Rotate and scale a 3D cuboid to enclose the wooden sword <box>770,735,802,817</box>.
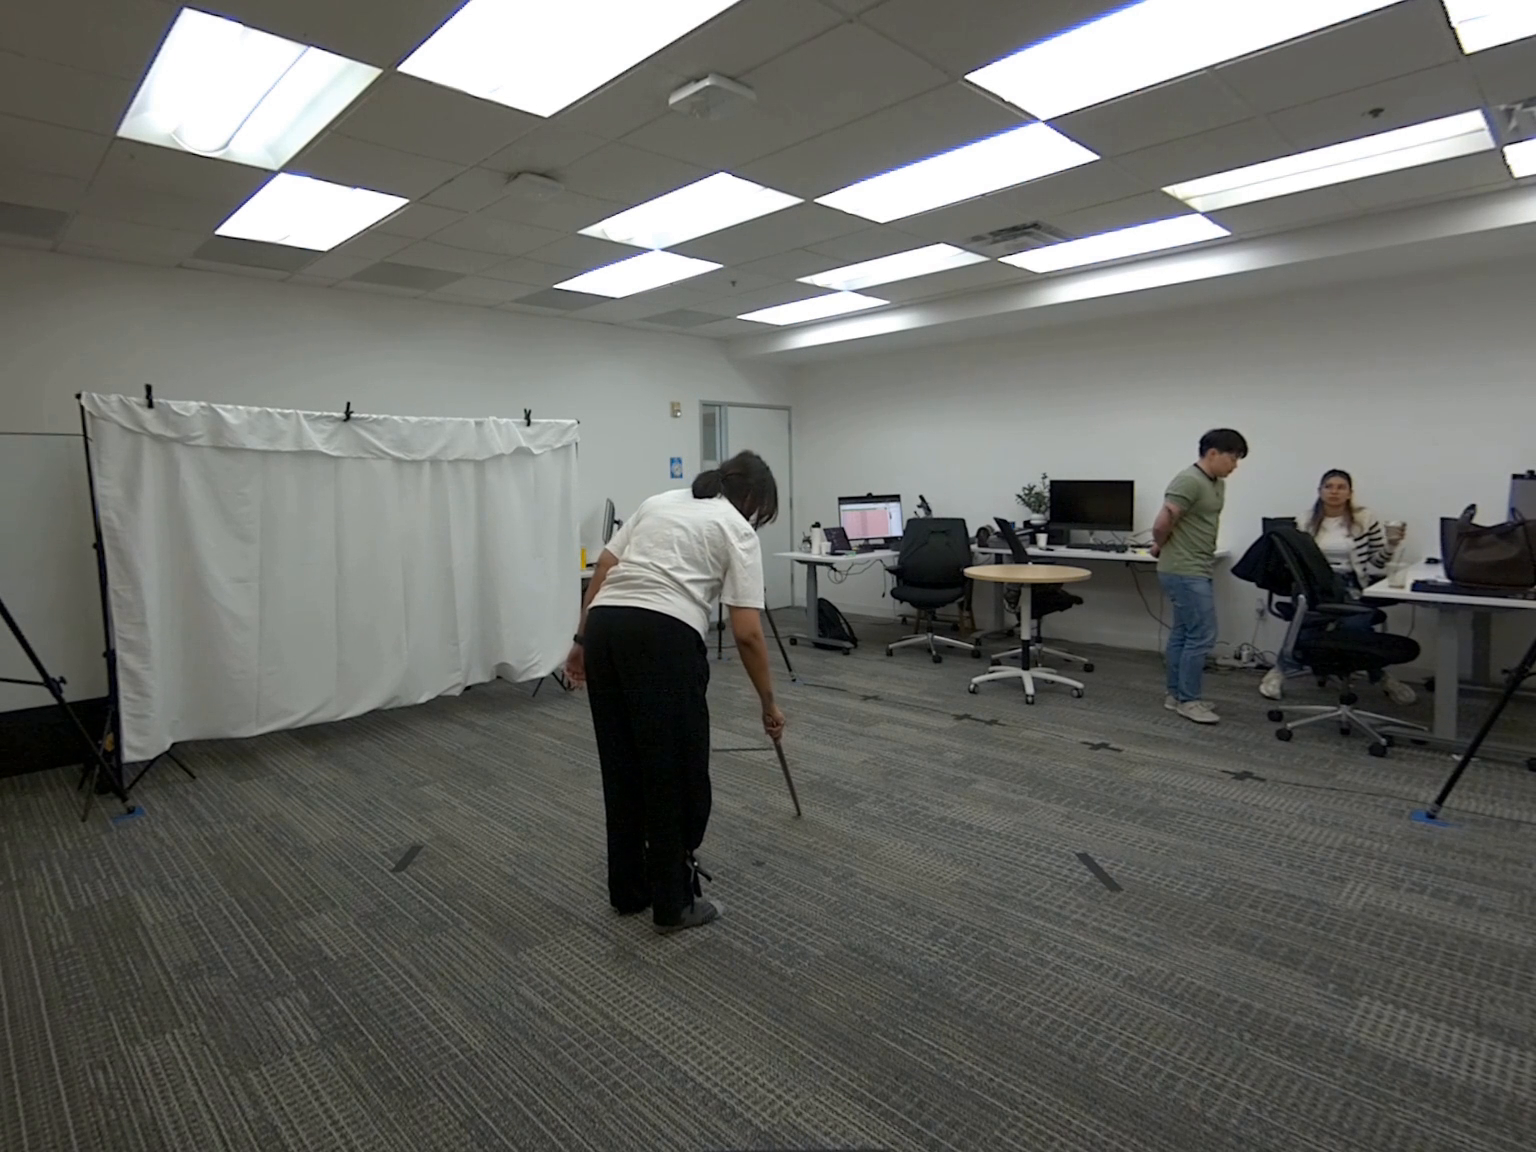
[{"bbox_3d":[0.074,0.727,3.150,0.051,0.025,0.994,-28,-31,-12],"label":"wooden sword"}]
